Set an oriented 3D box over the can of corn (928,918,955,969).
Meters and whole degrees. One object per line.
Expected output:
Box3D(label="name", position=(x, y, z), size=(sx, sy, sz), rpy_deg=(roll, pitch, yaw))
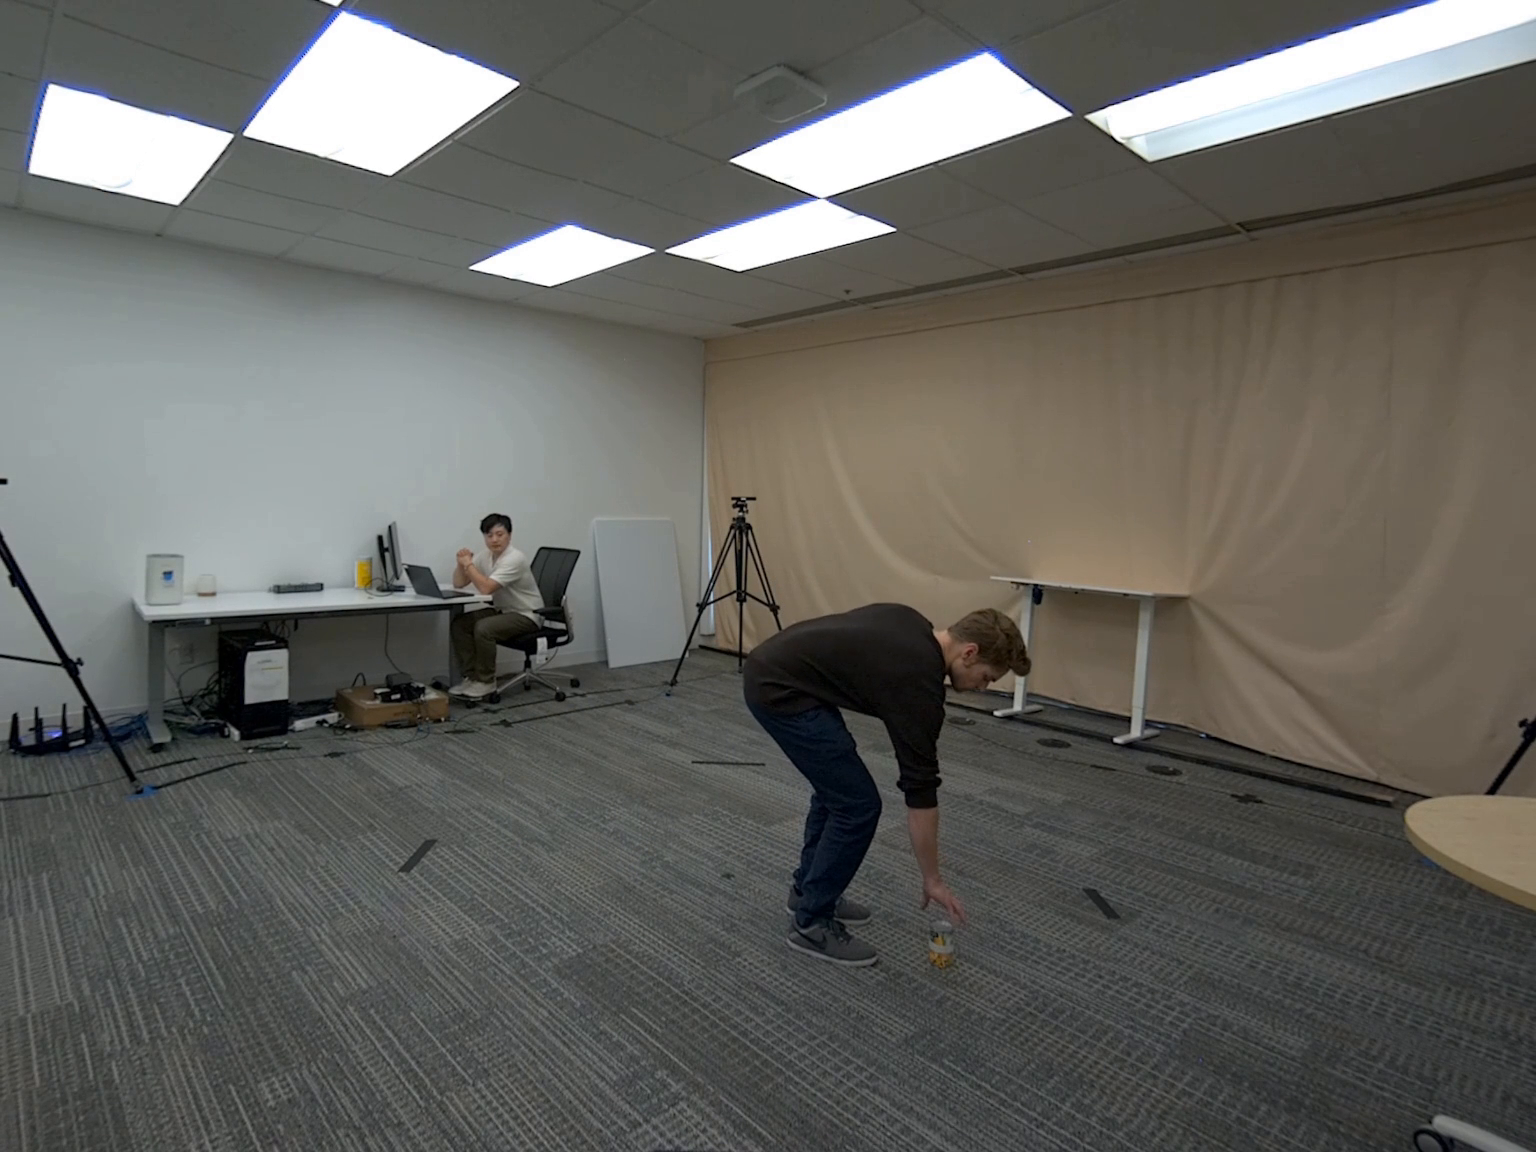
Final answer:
Box3D(label="can of corn", position=(0.520, 1.119, 2.555), size=(0.074, 0.111, 0.074), rpy_deg=(1, 0, -1))
